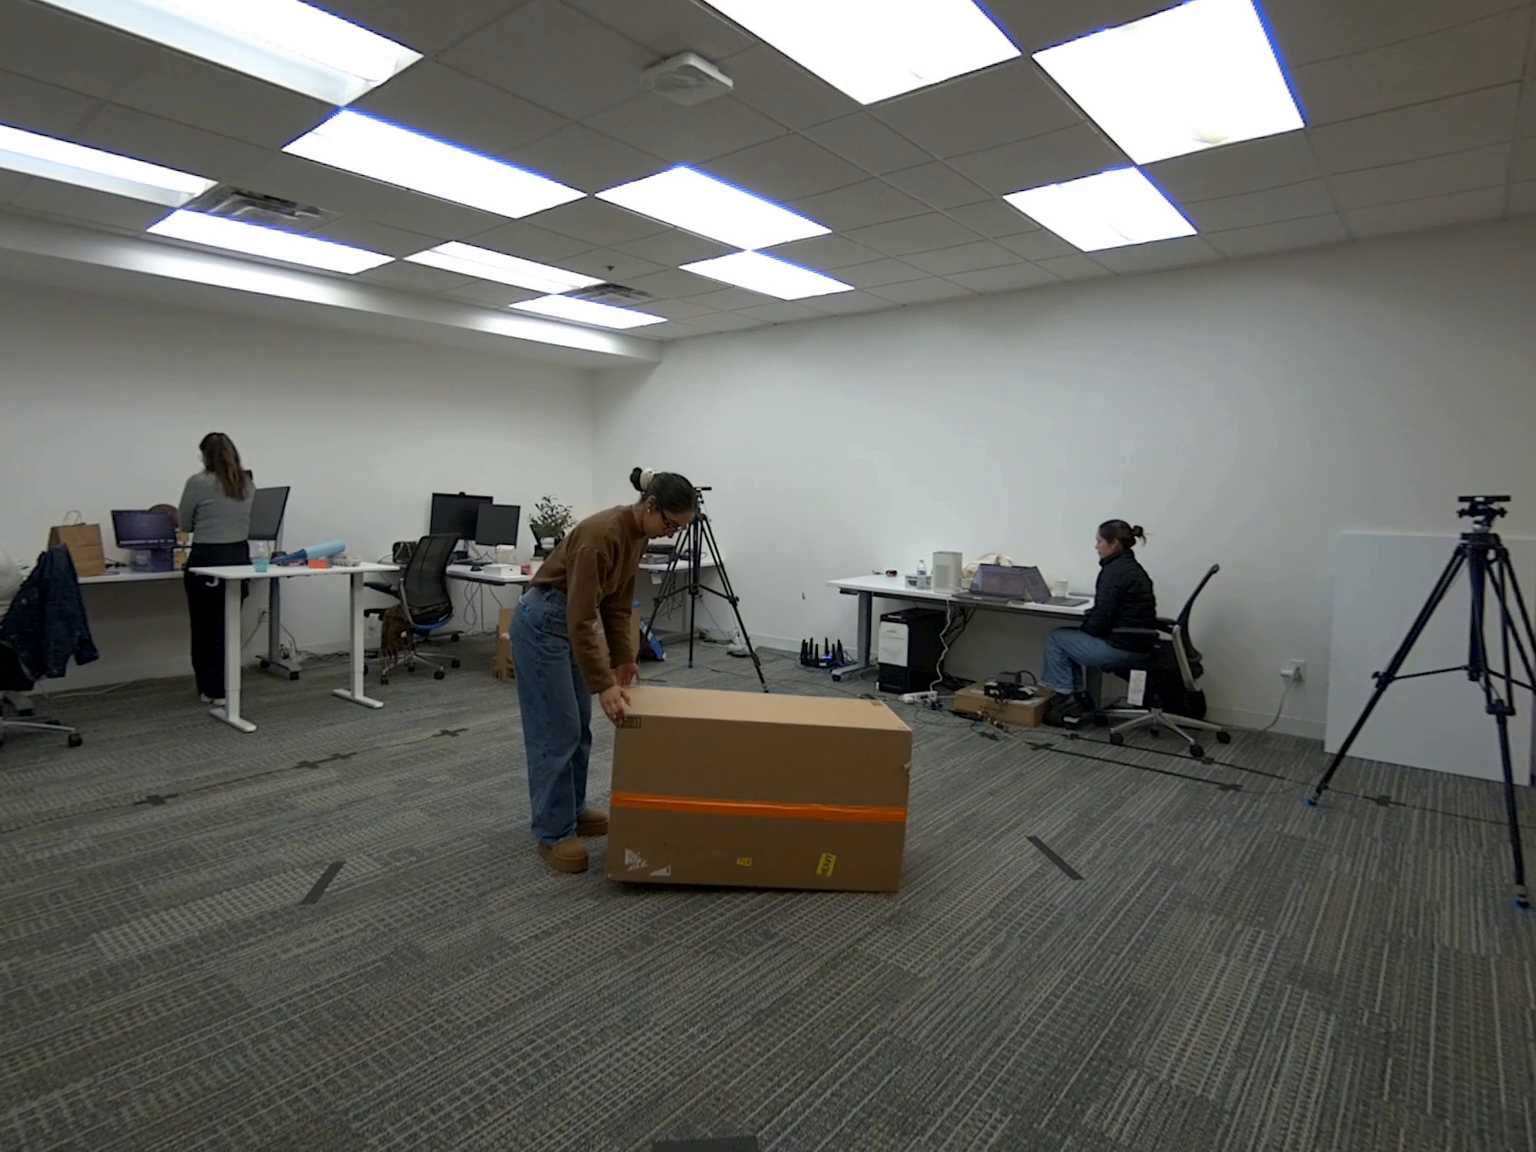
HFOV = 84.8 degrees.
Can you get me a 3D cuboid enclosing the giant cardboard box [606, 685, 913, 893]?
[{"bbox_3d":[-0.051,0.752,3.089,1.020,0.575,0.430,4,4,-5],"label":"giant cardboard box"}]
